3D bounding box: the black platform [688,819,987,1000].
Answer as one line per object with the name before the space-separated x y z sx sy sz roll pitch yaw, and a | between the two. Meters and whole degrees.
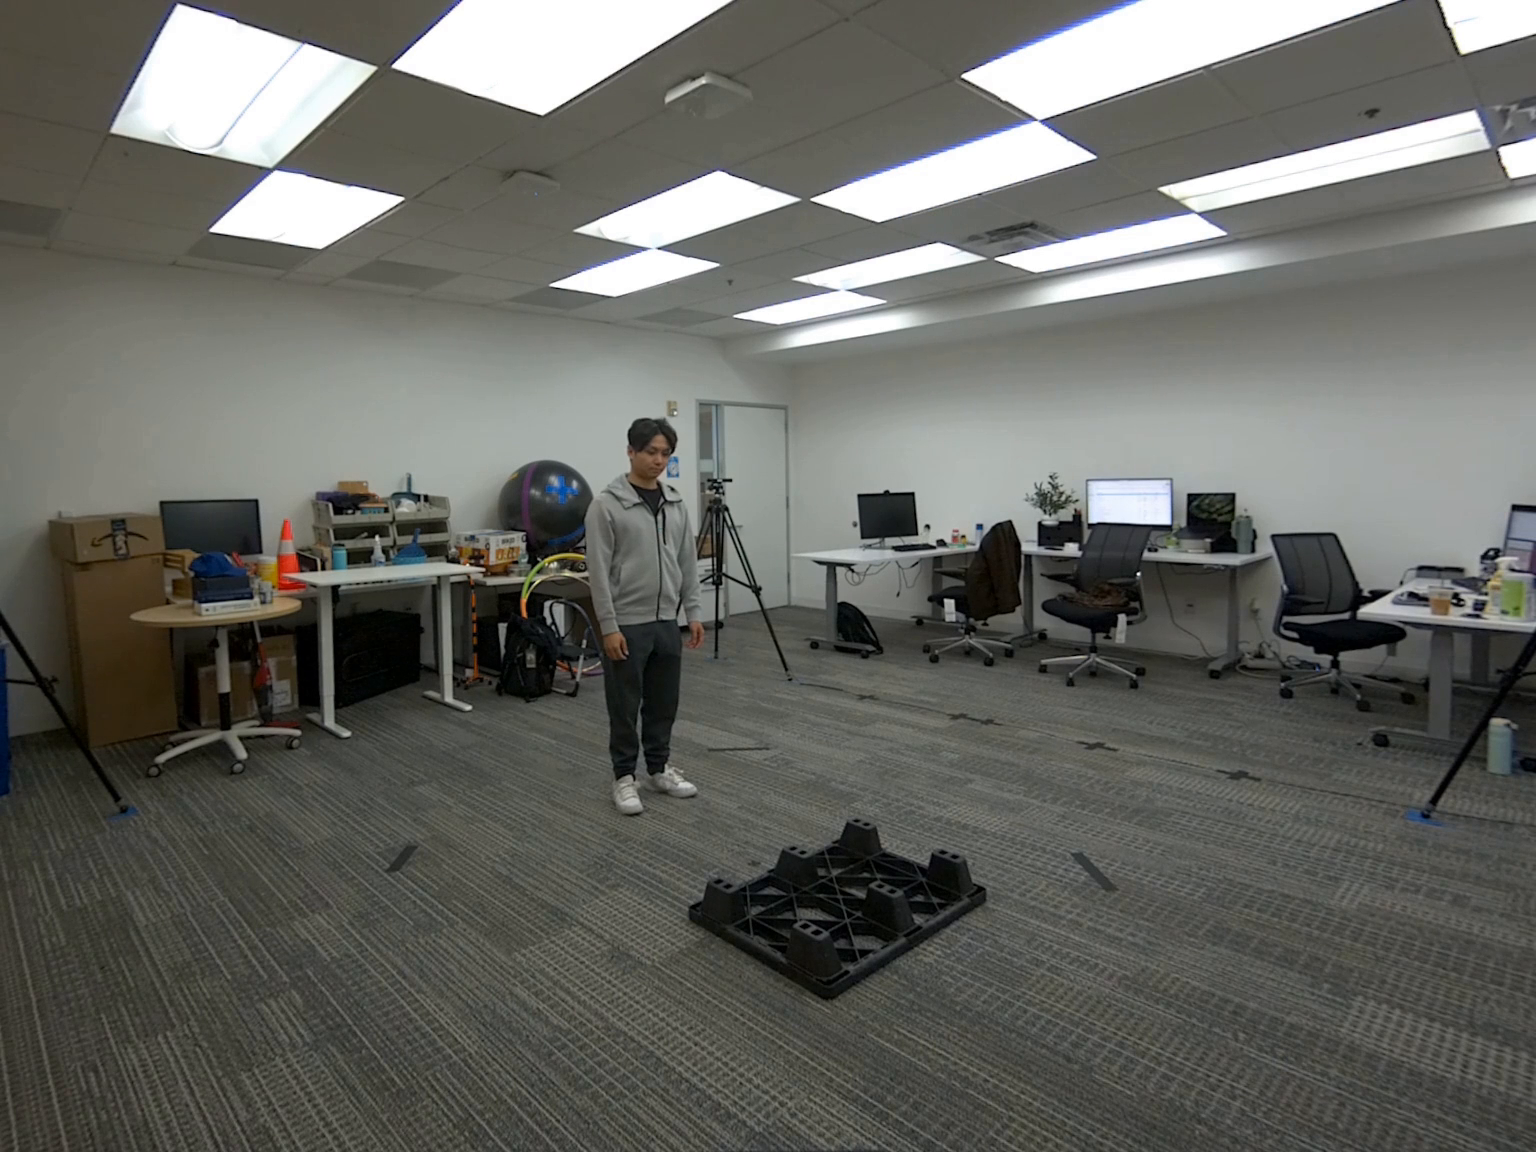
black platform | 0.235 1.013 2.767 0.784 0.142 0.624 -7 9 -43
